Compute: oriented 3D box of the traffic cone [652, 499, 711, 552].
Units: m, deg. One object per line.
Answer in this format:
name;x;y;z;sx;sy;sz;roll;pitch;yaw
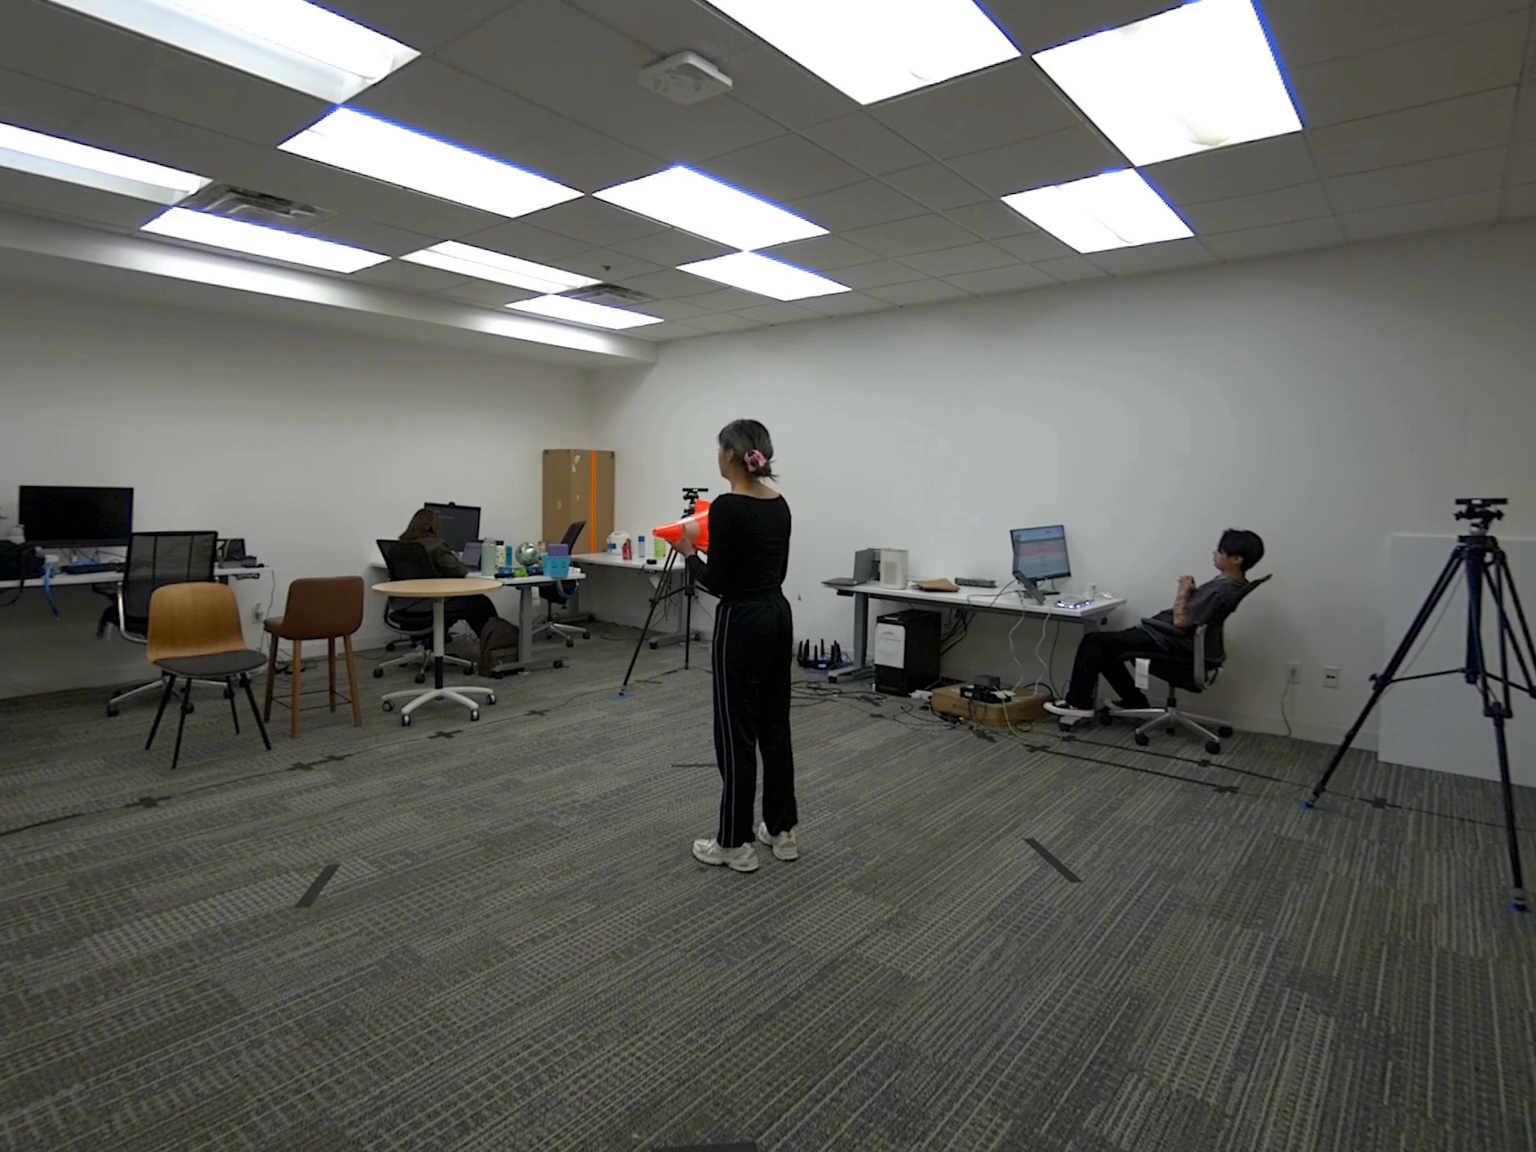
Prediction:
traffic cone;-0.323;-0.184;3.359;0.210;0.203;0.374;13;12;31
